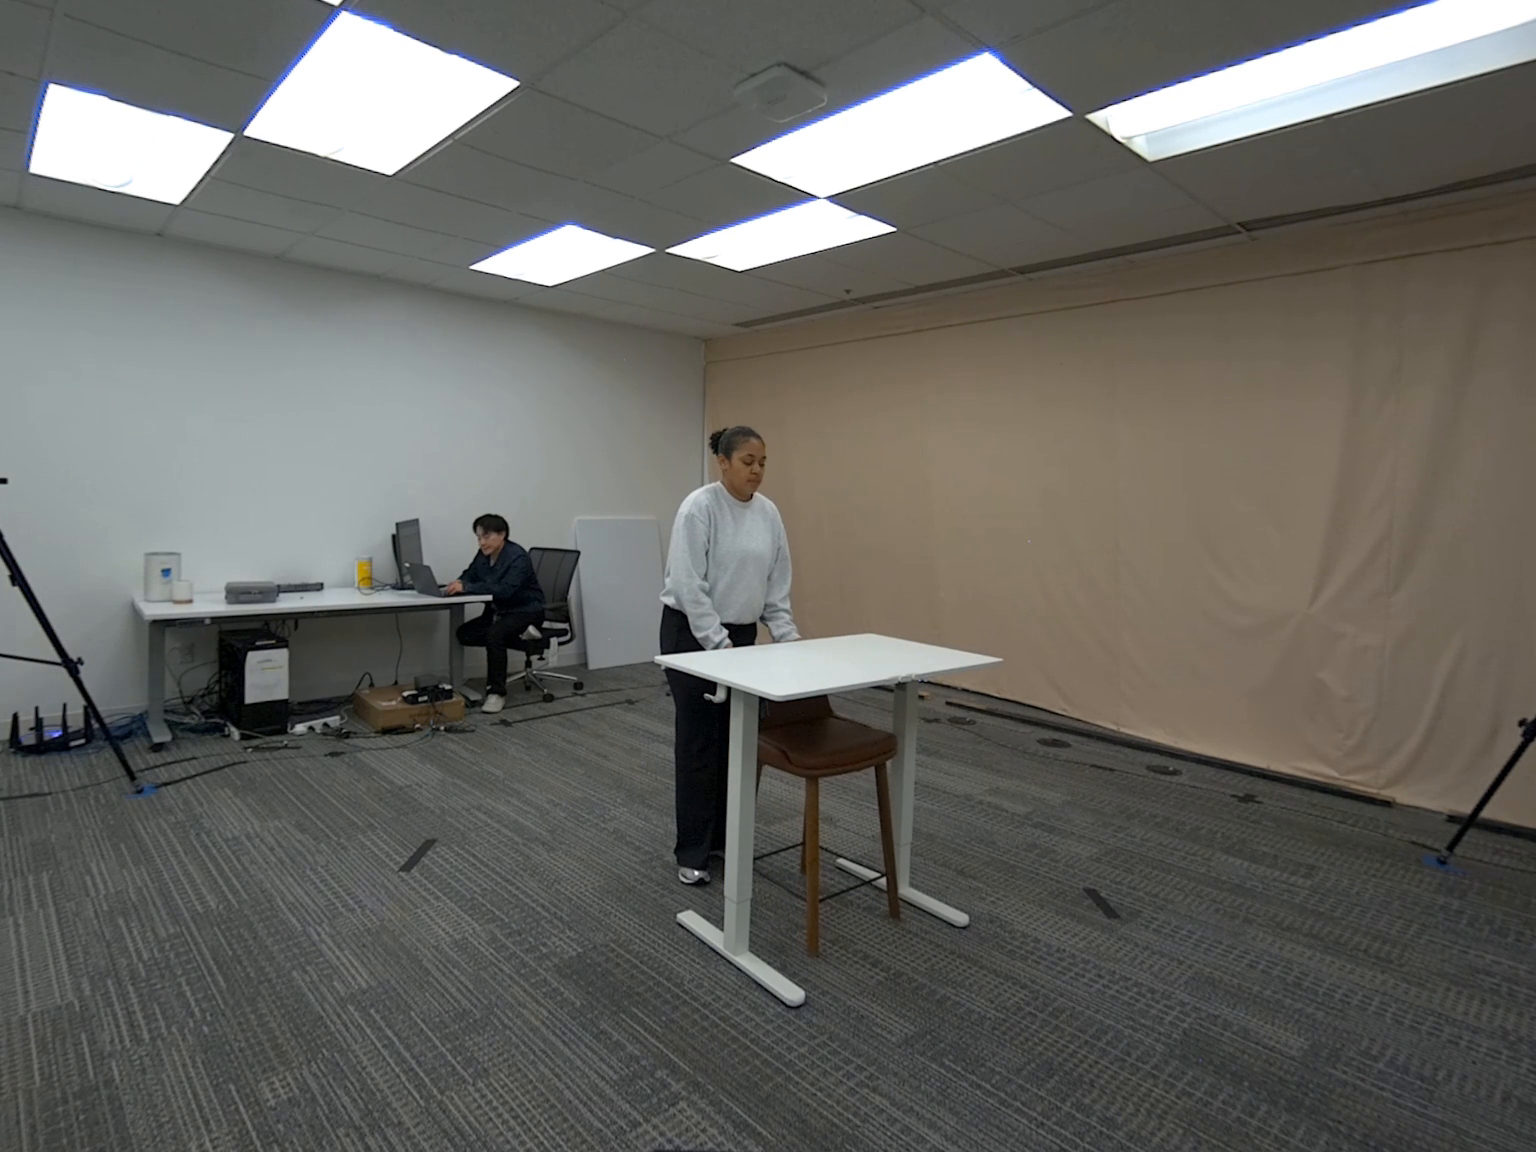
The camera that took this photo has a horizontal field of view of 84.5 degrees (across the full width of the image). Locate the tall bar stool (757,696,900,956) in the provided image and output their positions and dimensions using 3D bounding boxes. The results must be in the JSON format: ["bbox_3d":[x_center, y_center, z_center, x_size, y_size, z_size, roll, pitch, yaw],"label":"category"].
[{"bbox_3d":[0.143,0.705,2.845,0.446,0.889,0.479,-1,2,-39],"label":"tall bar stool"}]
